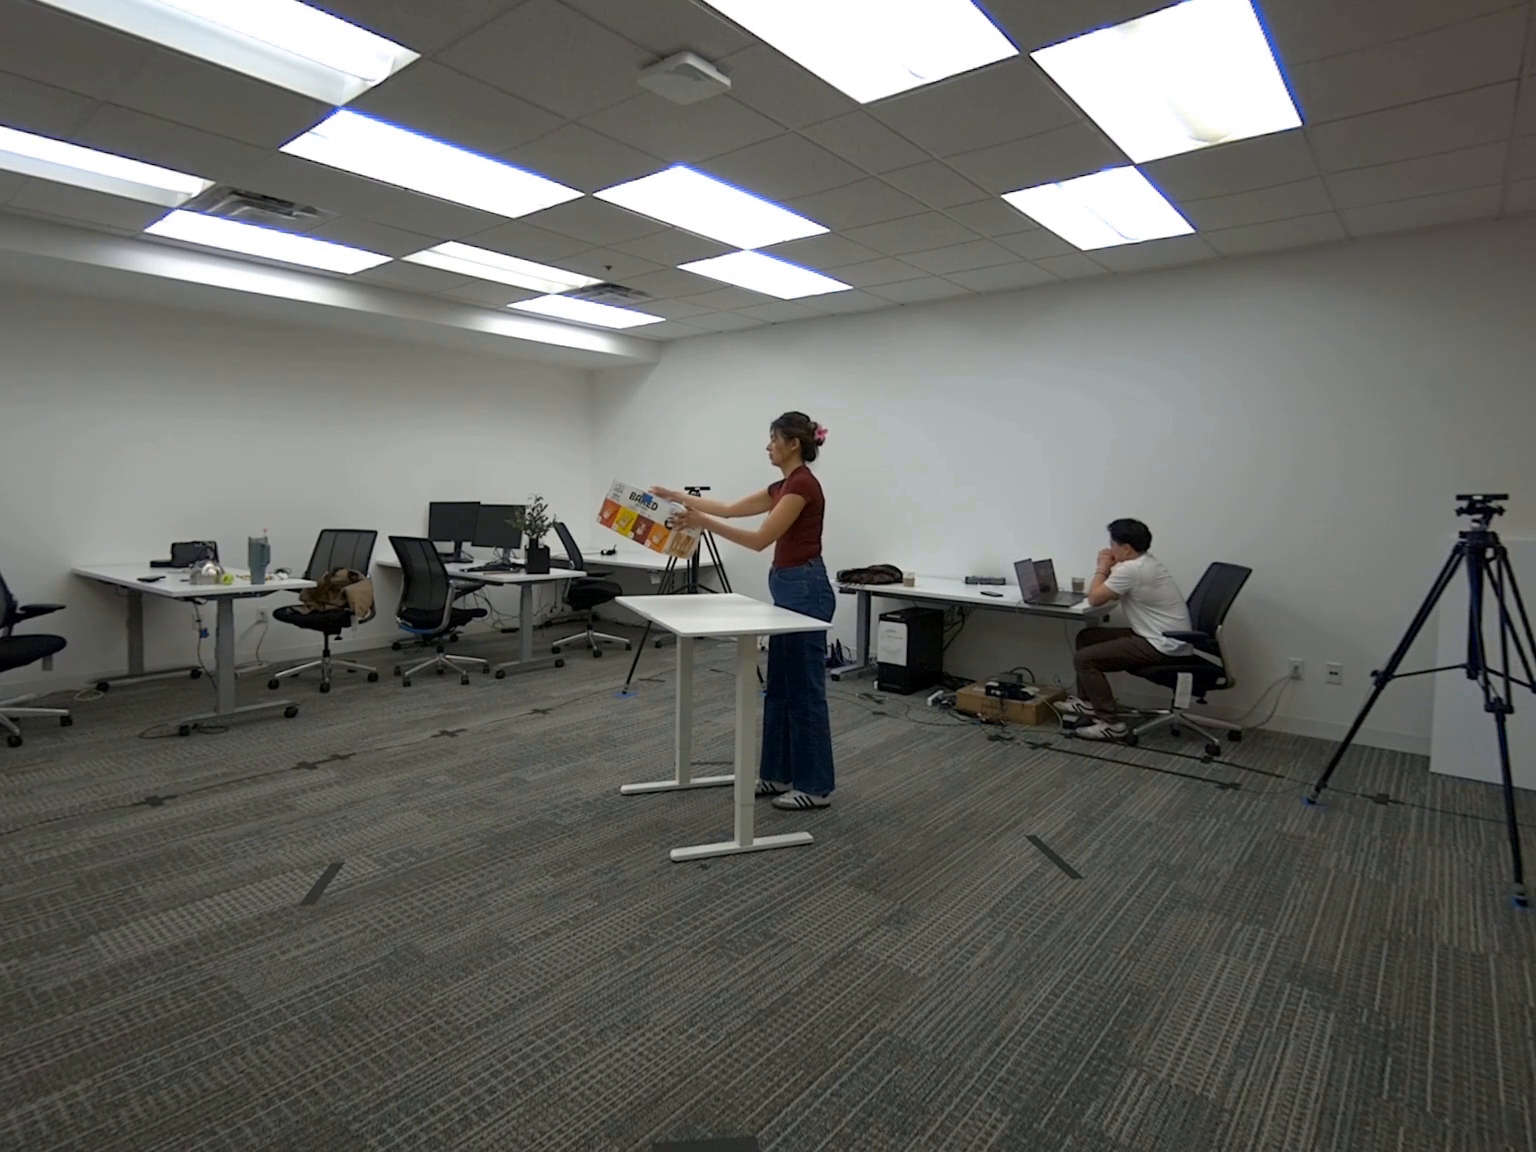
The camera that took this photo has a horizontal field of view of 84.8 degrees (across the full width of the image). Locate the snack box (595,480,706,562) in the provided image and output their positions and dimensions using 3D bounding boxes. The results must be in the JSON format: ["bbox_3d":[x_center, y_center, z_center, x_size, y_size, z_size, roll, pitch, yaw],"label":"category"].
[{"bbox_3d":[-0.513,-0.242,3.776,0.348,0.205,0.397,26,3,14],"label":"snack box"}]
